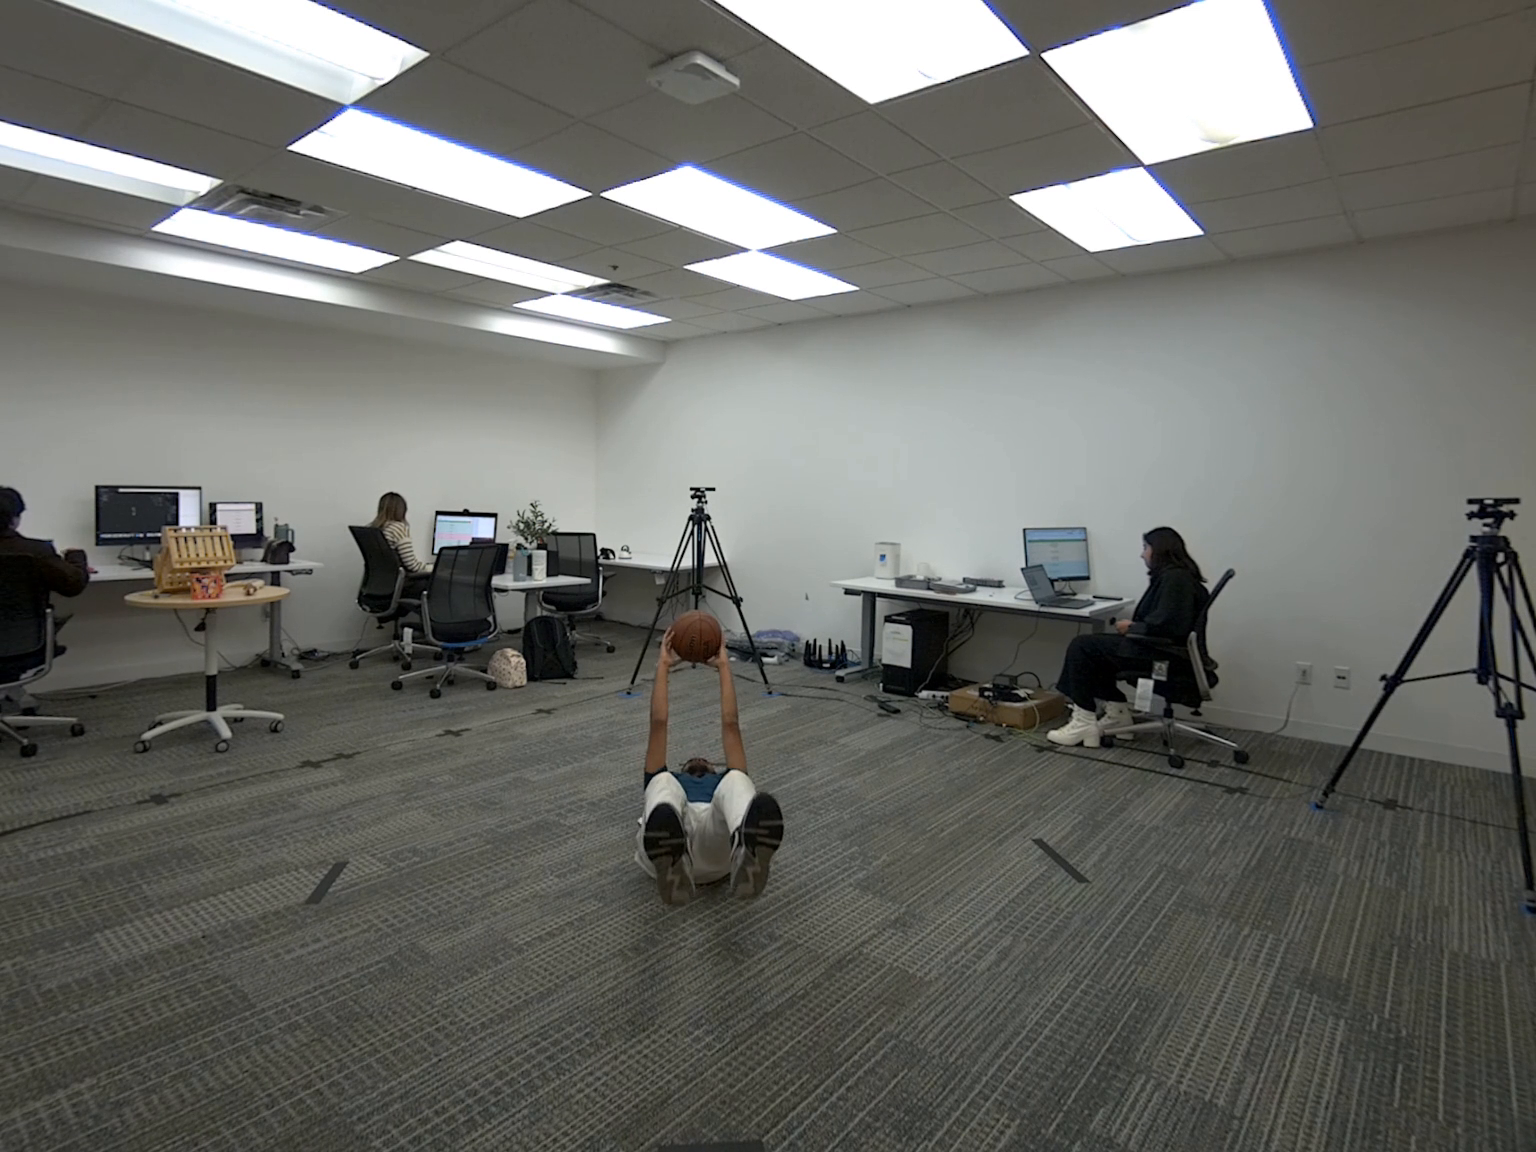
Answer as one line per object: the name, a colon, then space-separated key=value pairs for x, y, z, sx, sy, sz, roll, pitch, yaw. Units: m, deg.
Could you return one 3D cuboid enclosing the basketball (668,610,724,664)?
basketball: x=-0.339 y=0.273 z=3.867 sx=0.235 sy=0.235 sz=0.237 roll=1 pitch=4 yaw=-2
